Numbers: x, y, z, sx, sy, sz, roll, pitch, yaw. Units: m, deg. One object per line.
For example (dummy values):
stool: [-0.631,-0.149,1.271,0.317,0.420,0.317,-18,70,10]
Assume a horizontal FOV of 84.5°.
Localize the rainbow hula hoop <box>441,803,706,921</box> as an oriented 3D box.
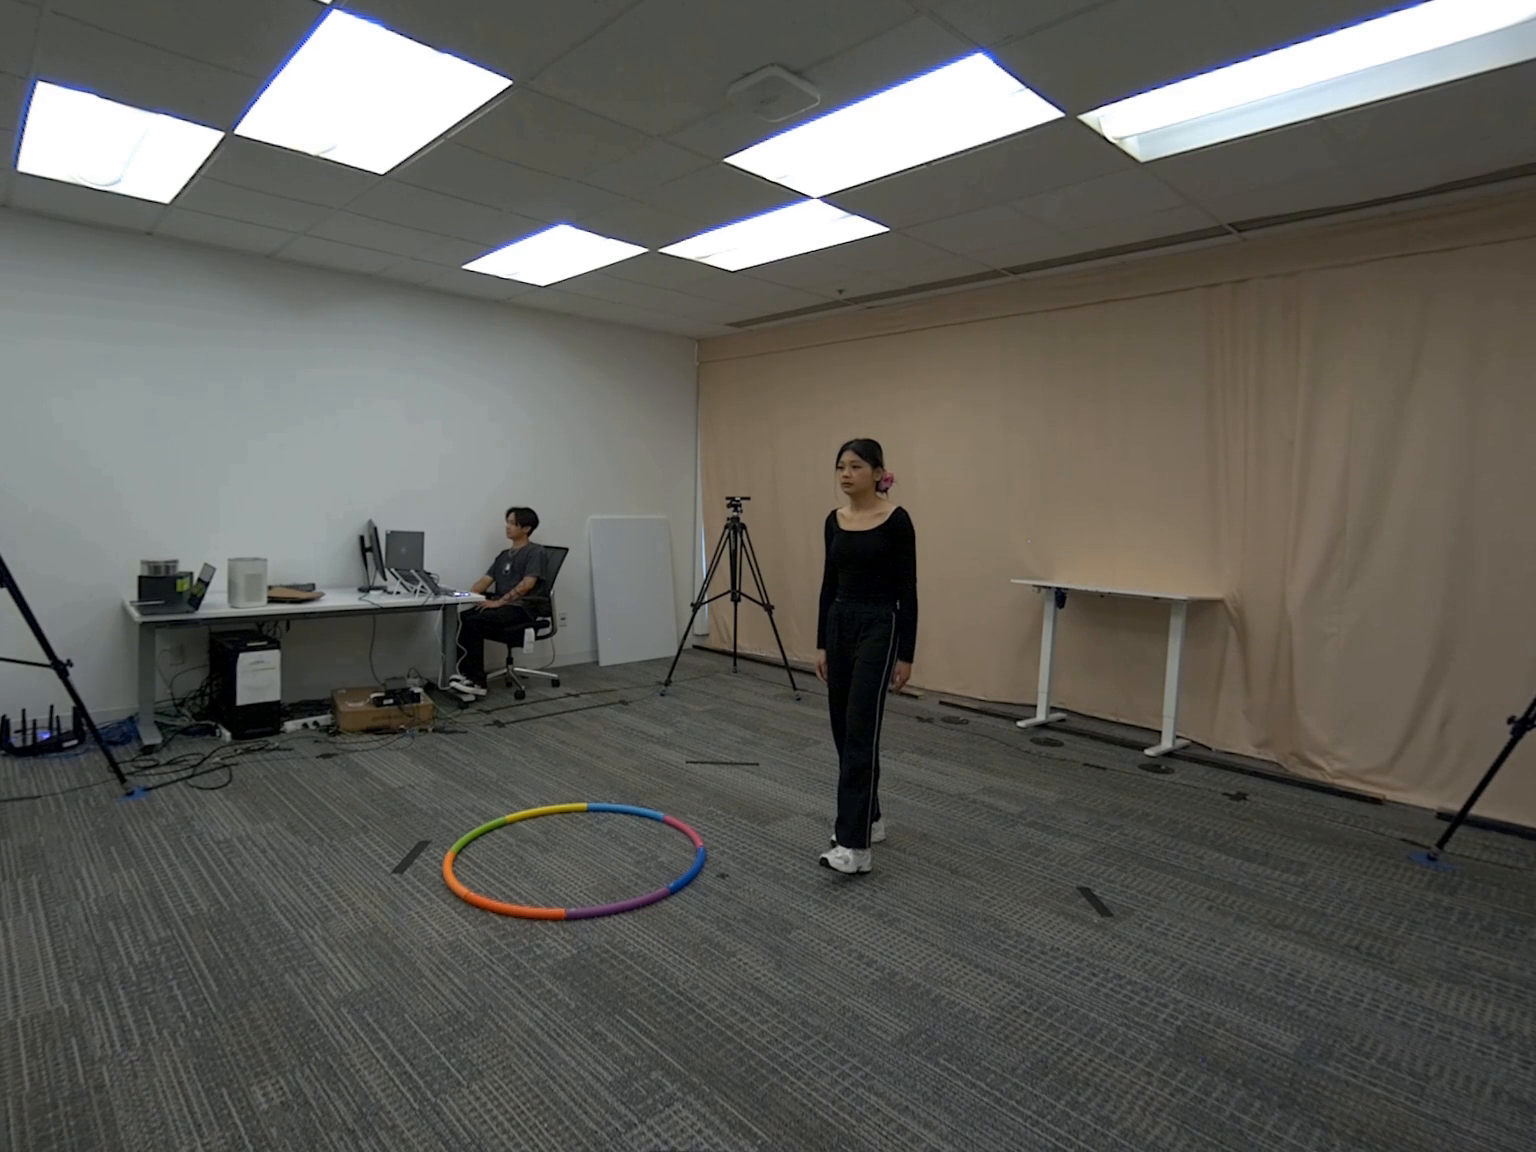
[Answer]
rainbow hula hoop: [-0.733,1.055,3.231,0.978,0.035,0.982,2,6,-2]
